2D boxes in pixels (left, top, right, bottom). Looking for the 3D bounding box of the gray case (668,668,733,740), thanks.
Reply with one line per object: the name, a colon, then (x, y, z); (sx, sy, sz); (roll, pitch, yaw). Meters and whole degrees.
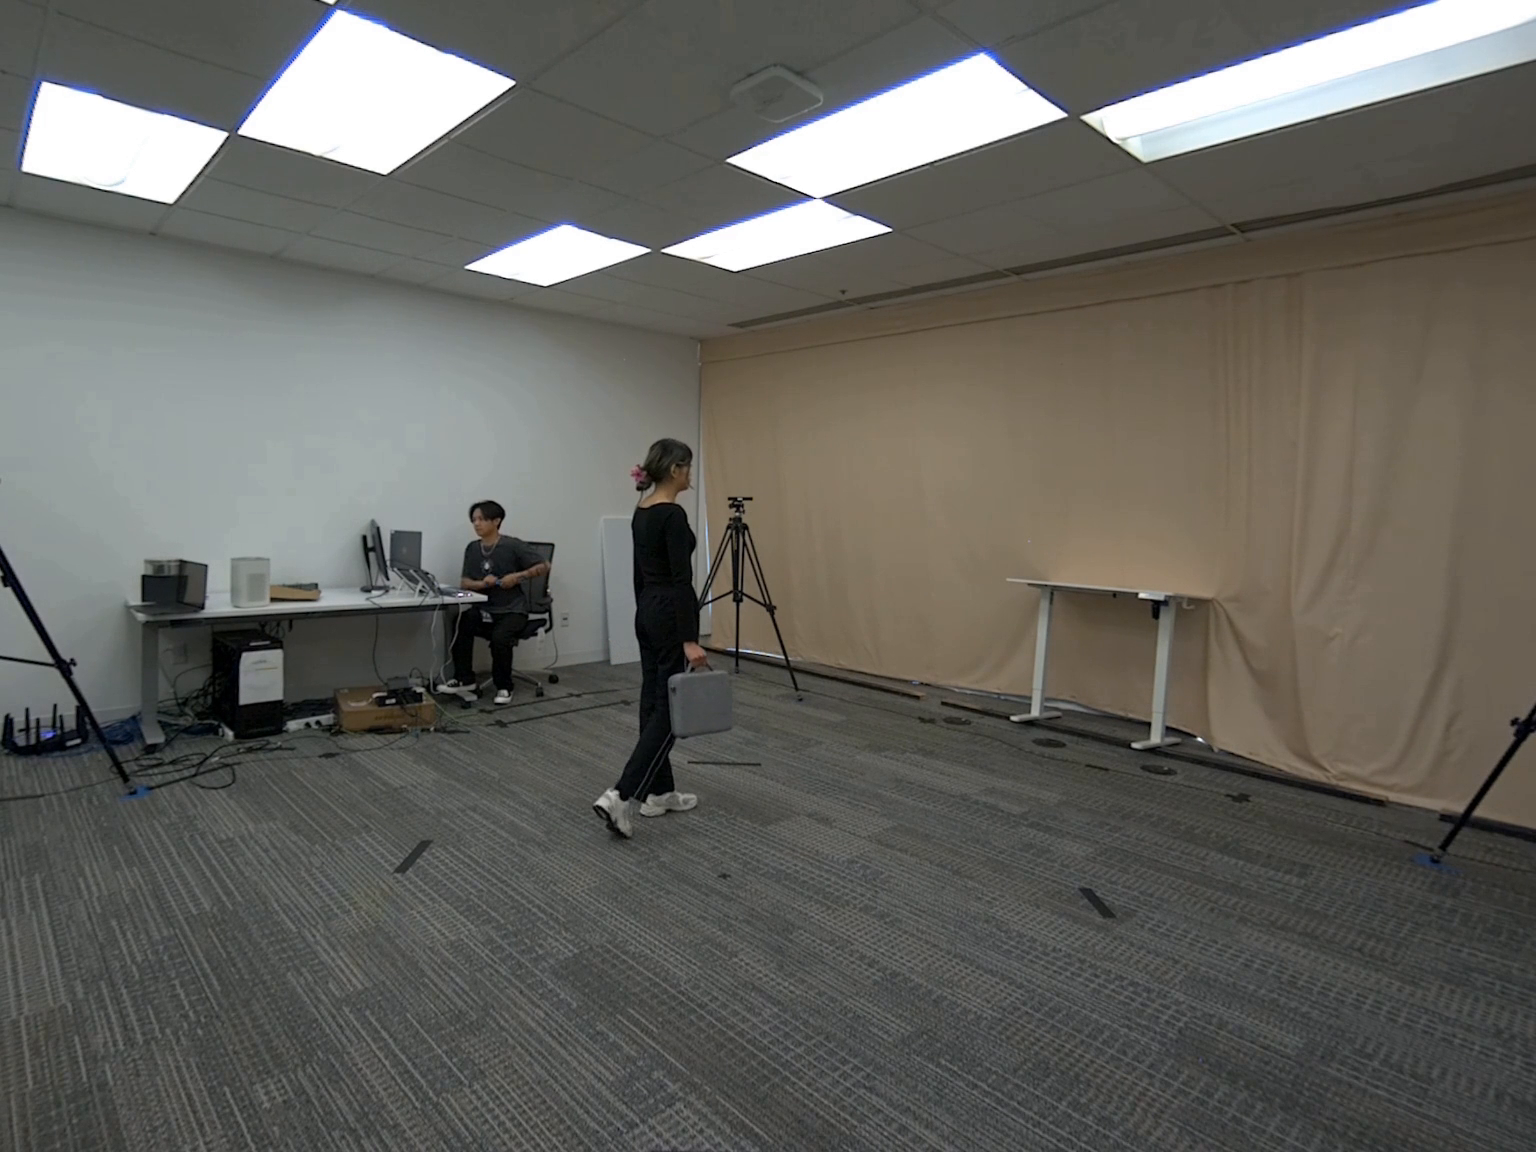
gray case: (-0.288, 0.514, 3.461); (0.252, 0.261, 0.106); (-2, -4, -25)
